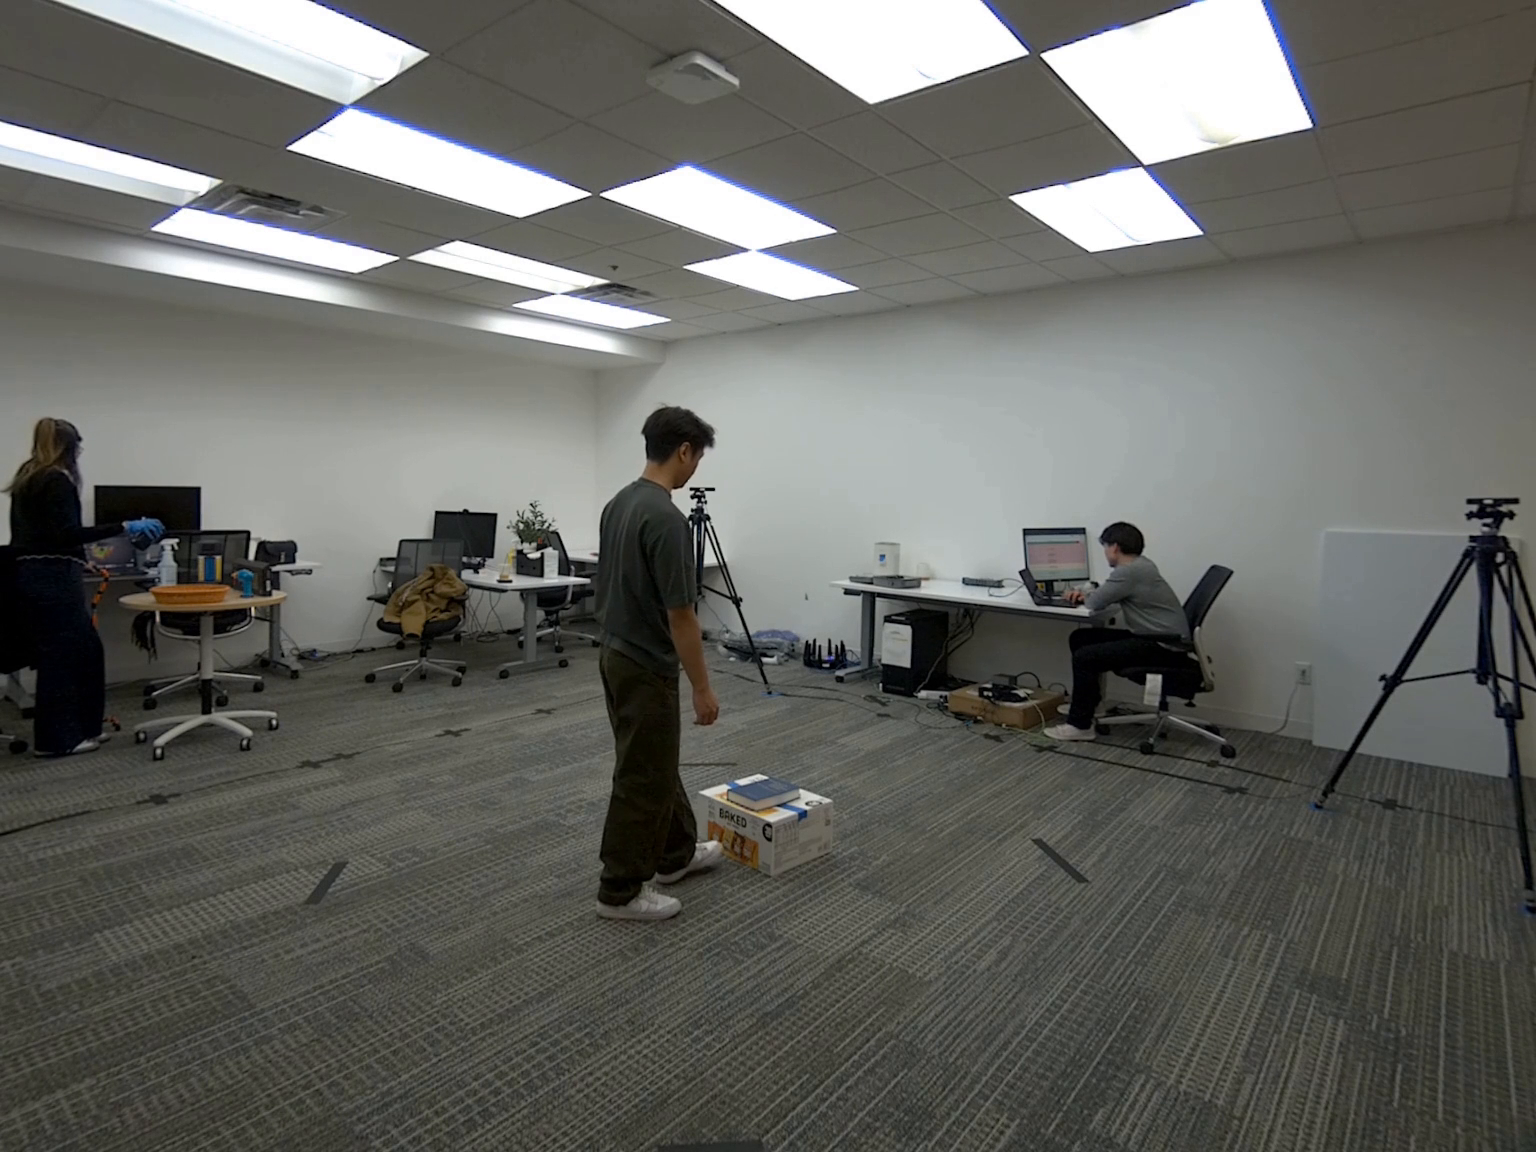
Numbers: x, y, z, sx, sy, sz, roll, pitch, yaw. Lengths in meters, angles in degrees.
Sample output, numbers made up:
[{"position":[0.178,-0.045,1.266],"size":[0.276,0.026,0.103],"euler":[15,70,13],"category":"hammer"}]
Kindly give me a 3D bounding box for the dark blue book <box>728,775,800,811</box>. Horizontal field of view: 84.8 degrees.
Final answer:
[{"position":[-0.012,0.842,3.291],"size":[0.238,0.045,0.169],"euler":[-4,7,-43],"category":"dark blue book"}]
